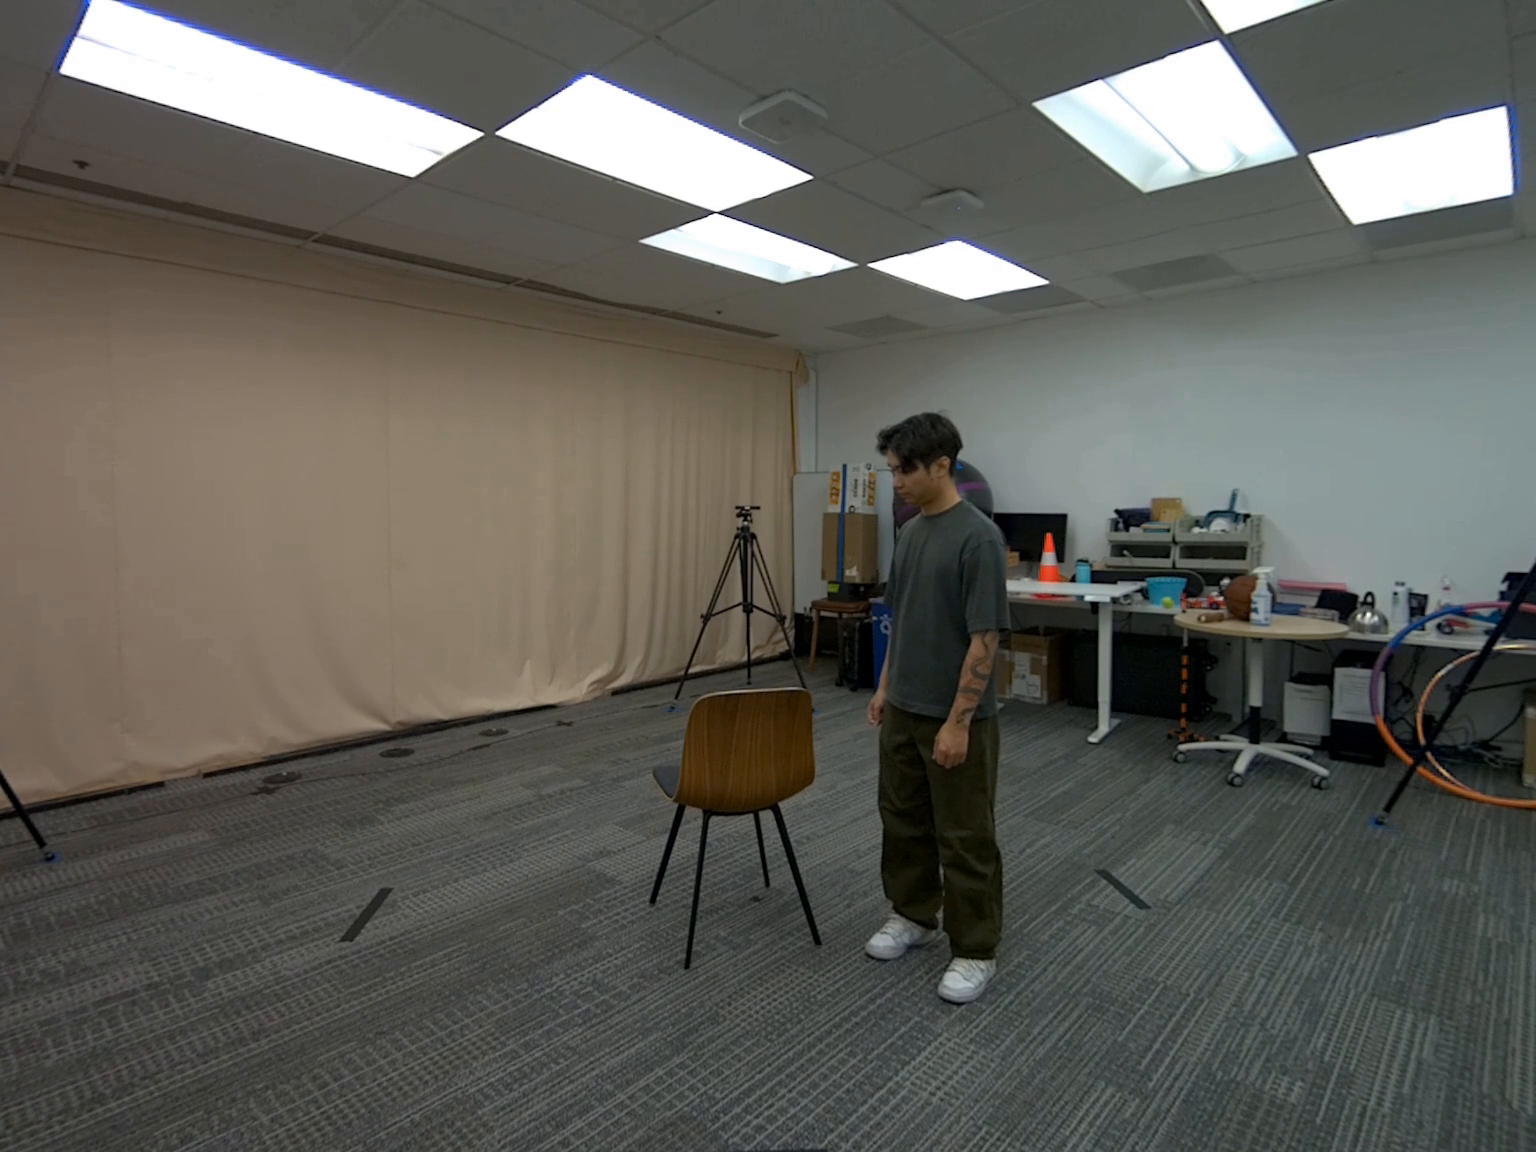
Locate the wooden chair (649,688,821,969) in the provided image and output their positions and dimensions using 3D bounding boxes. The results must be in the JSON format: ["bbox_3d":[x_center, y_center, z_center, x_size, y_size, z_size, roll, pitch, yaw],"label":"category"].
[{"bbox_3d":[-0.124,0.735,2.787,0.469,0.873,0.536,-2,8,-20],"label":"wooden chair"}]
